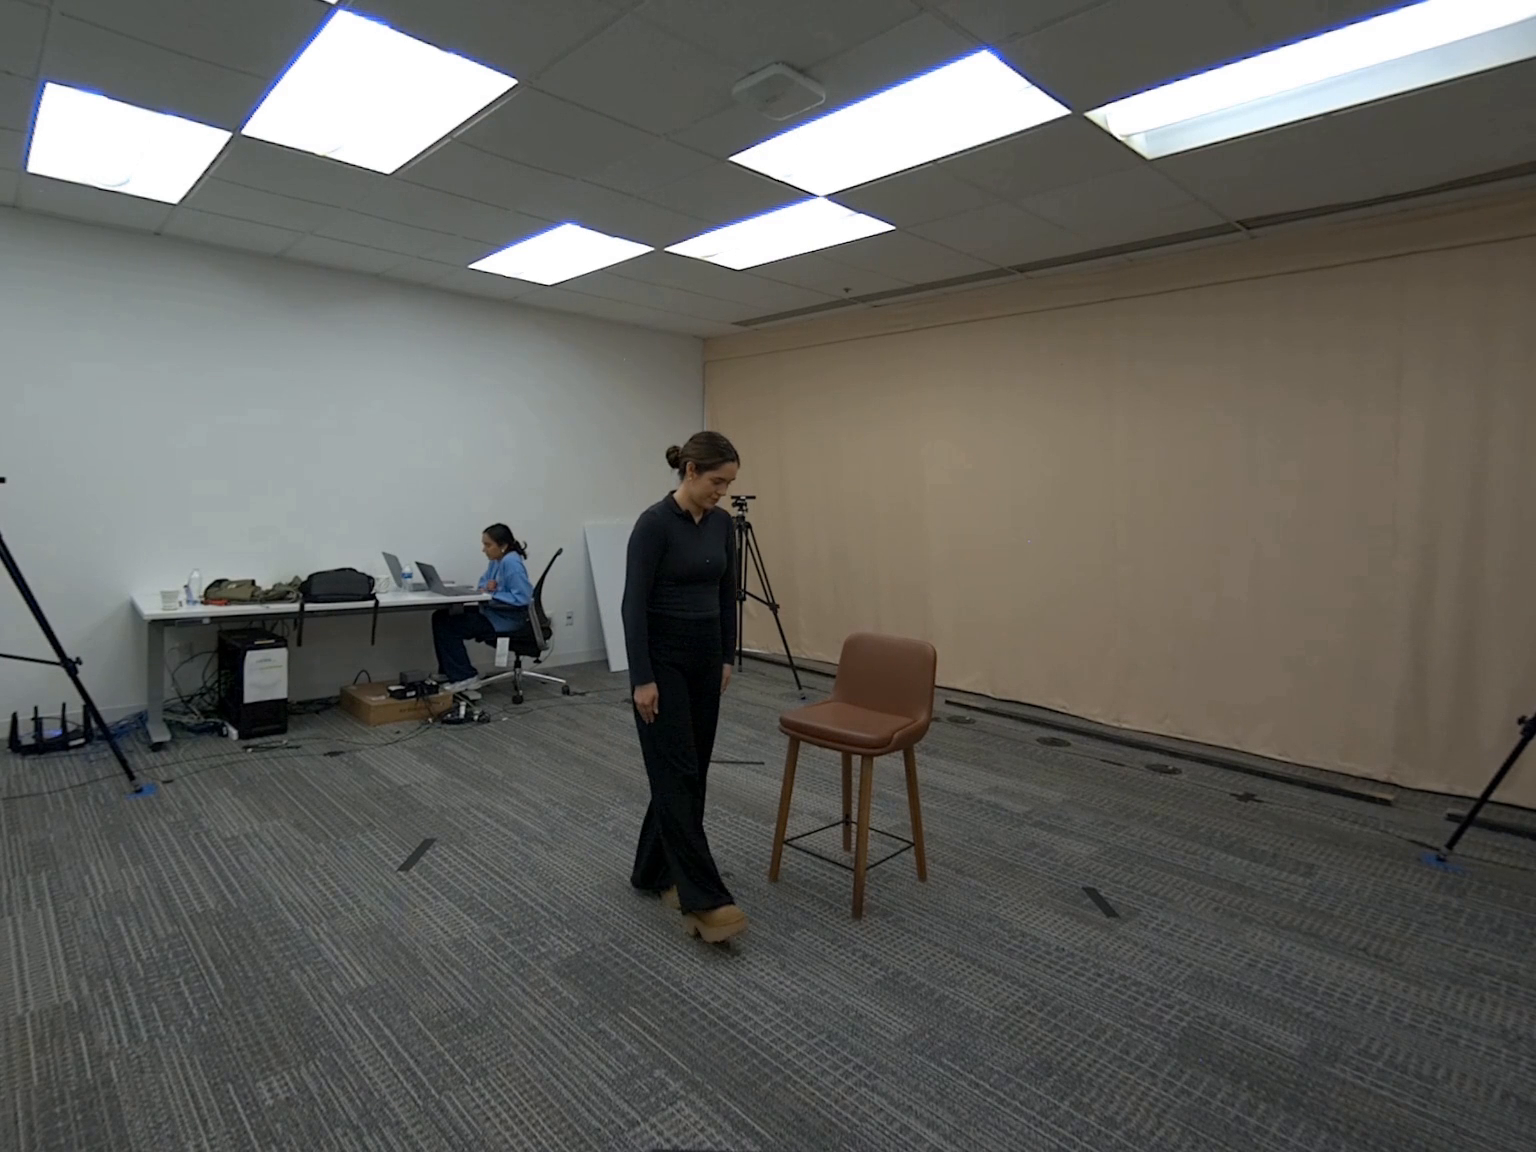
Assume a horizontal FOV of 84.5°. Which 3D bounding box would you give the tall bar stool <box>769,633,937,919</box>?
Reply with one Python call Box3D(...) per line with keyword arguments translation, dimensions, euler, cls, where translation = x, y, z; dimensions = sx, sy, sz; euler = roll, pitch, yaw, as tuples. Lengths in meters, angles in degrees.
Box3D(translation=(0.312, 0.680, 3.059), dimensions=(0.468, 0.889, 0.456), euler=(4, 3, 44), cls="tall bar stool")
